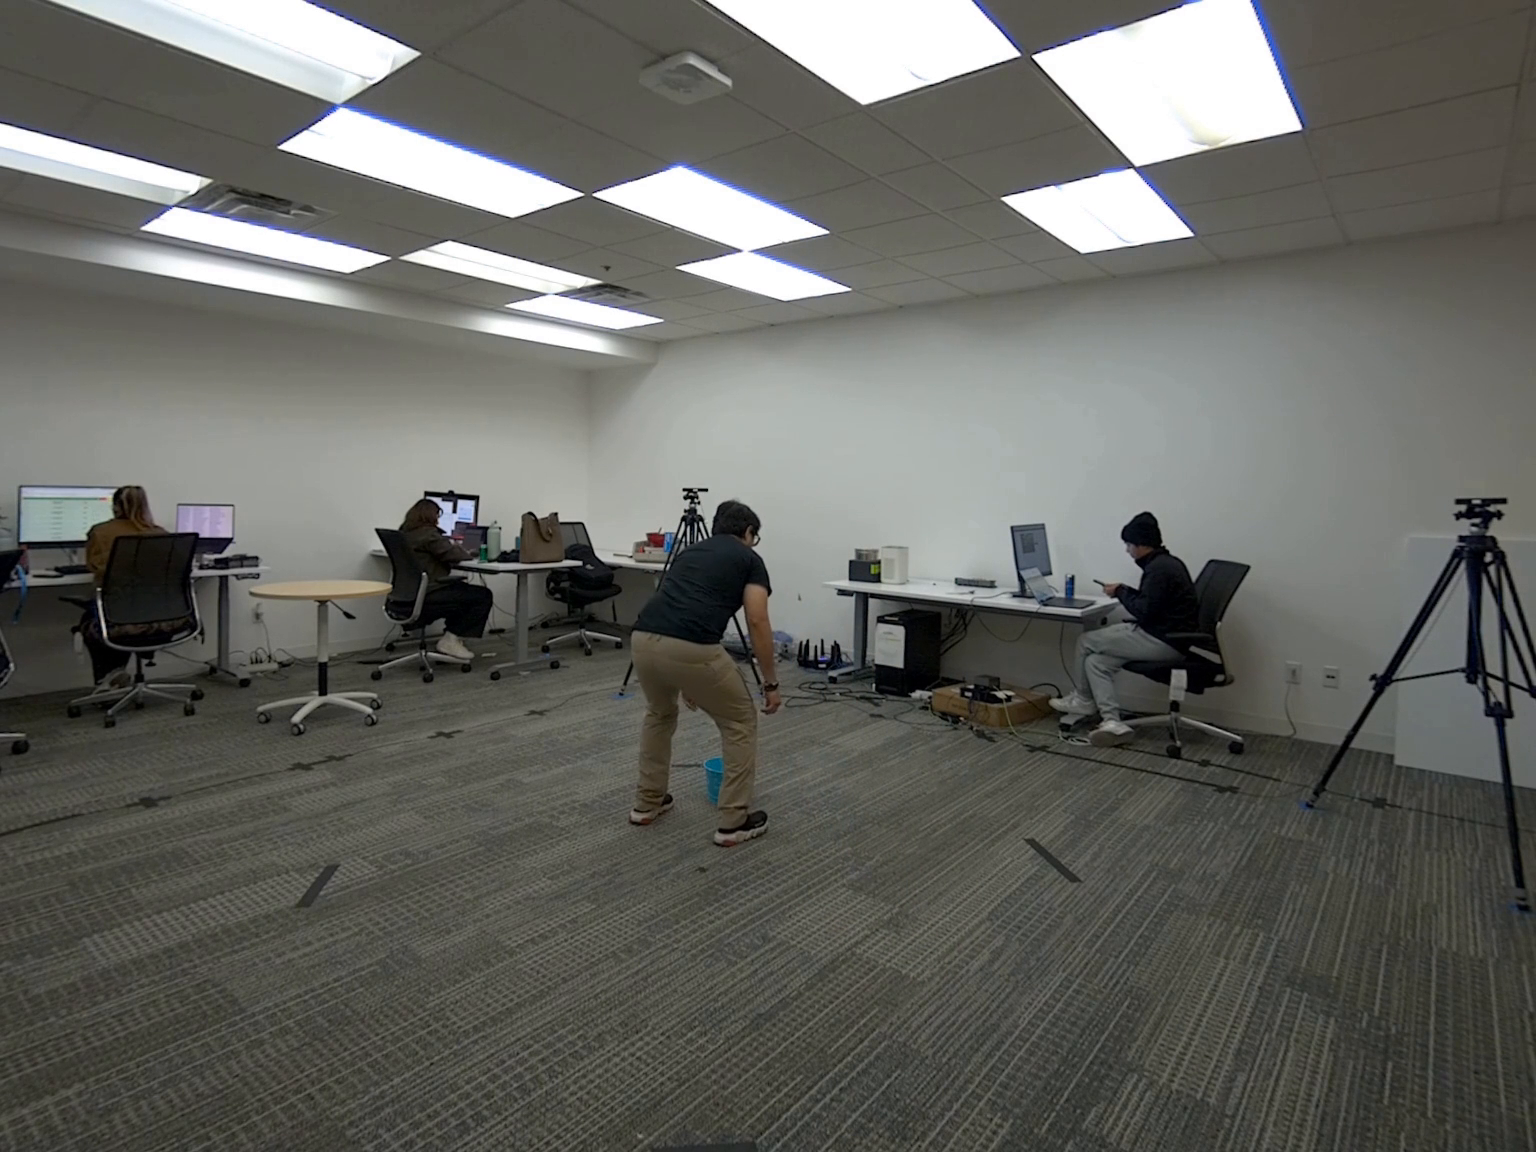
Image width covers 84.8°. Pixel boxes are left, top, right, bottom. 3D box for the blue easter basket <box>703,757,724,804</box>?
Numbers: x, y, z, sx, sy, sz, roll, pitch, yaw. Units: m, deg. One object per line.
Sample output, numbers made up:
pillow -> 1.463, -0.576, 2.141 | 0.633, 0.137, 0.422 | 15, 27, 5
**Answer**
blue easter basket -> -0.190, 0.919, 3.838 | 0.243, 0.155, 0.244 | 2, 4, -2
